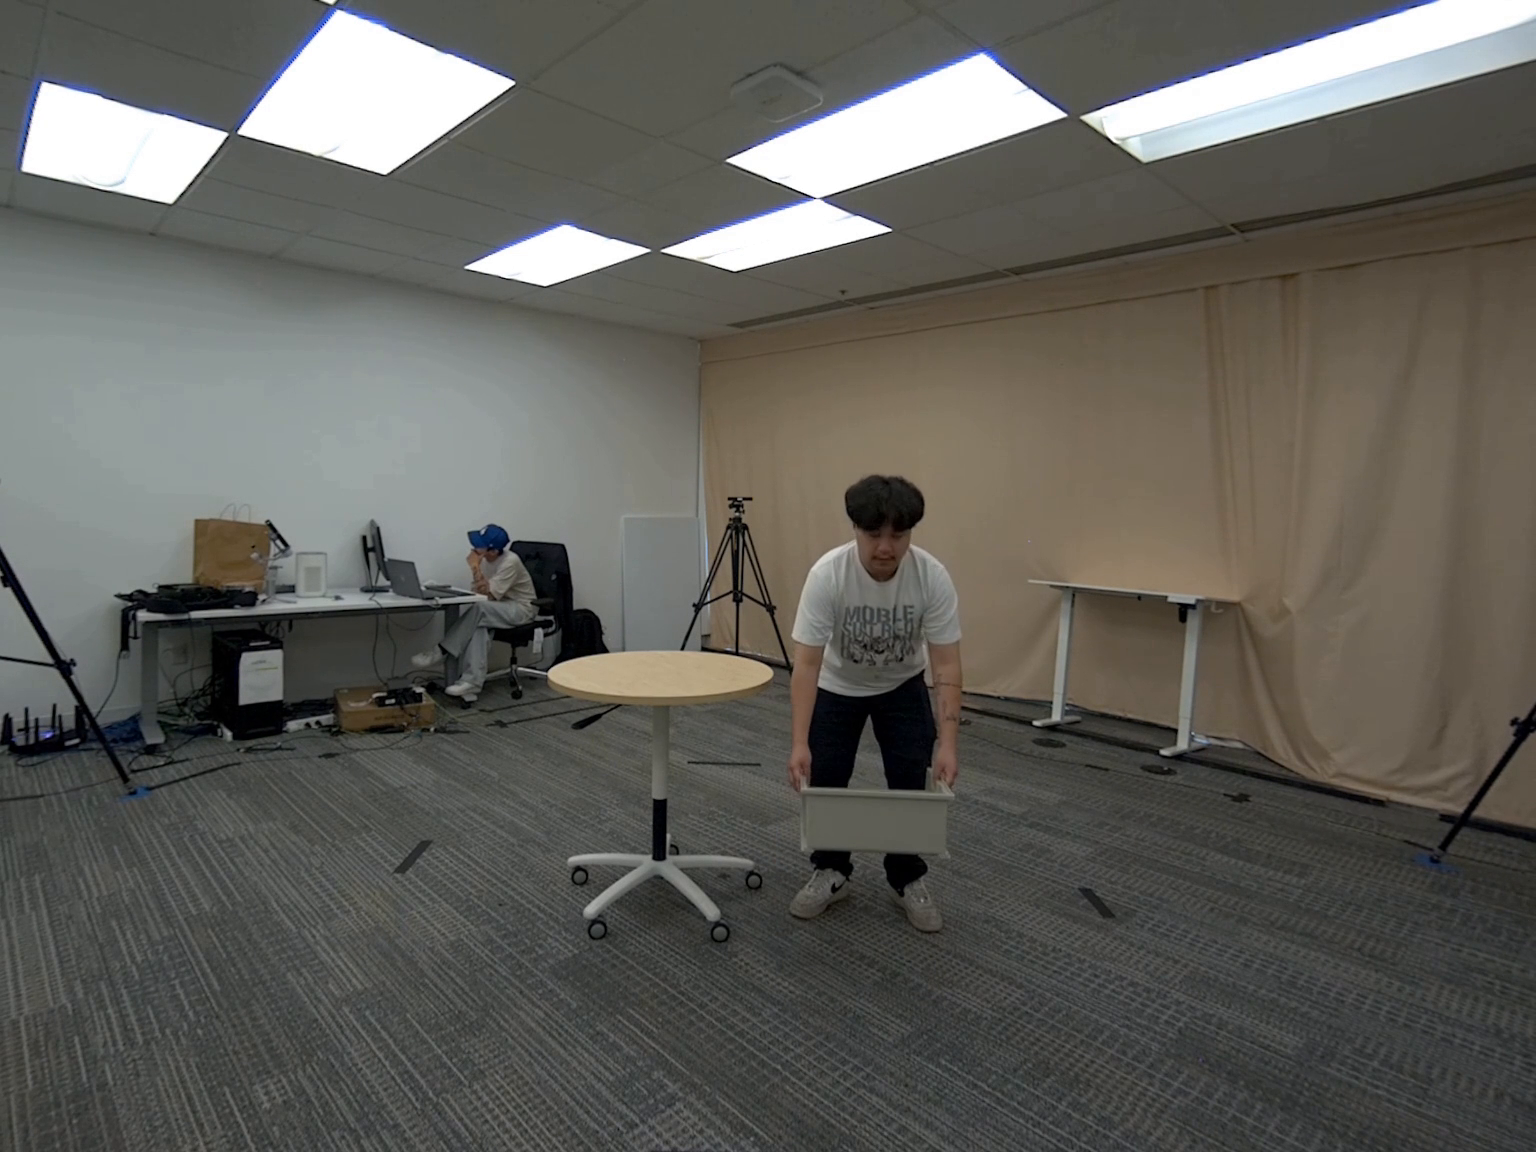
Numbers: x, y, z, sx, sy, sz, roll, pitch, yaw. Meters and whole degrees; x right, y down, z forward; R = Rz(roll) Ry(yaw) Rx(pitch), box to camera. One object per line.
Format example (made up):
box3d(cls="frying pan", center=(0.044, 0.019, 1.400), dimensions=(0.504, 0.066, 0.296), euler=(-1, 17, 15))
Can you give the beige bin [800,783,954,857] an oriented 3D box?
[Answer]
box3d(cls="beige bin", center=(0.303, 0.695, 2.510), dimensions=(0.424, 0.189, 0.376), euler=(1, 1, 4))
